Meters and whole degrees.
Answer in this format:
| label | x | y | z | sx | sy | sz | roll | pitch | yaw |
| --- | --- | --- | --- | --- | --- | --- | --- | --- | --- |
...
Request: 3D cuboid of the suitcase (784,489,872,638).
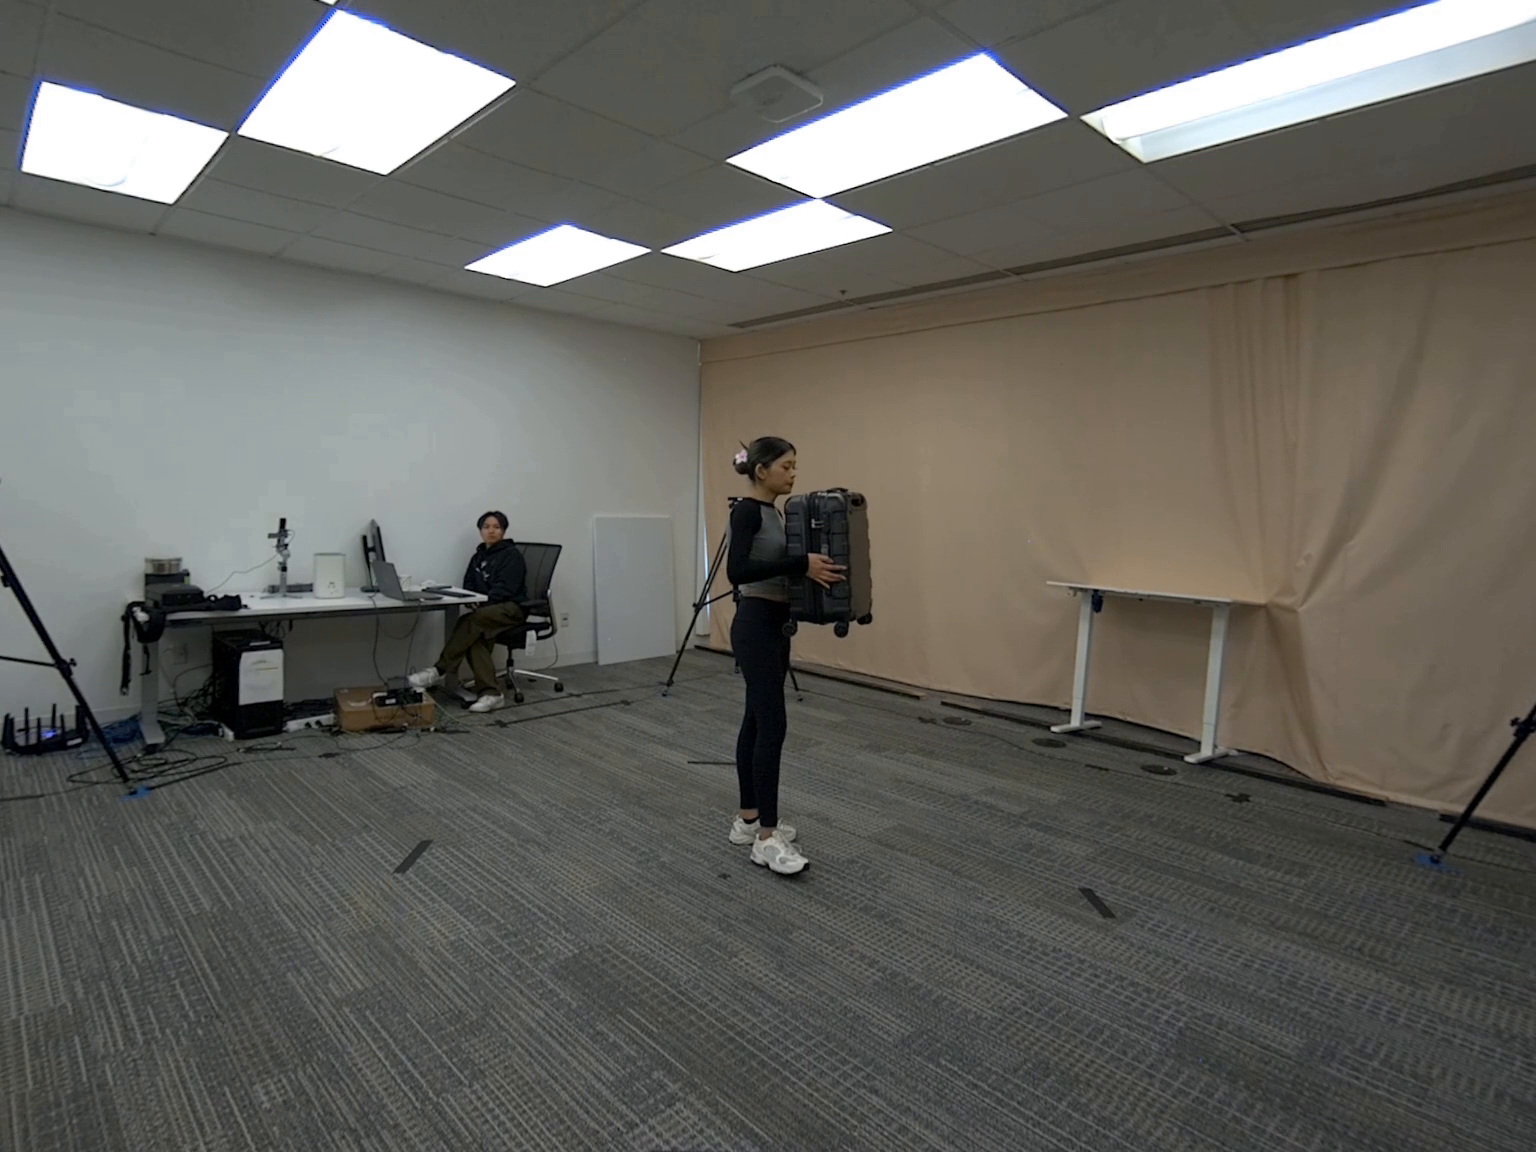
| label | x | y | z | sx | sy | sz | roll | pitch | yaw |
| --- | --- | --- | --- | --- | --- | --- | --- | --- | --- |
| suitcase | 0.227 | -0.066 | 3.282 | 0.253 | 0.547 | 0.369 | 0 | 5 | 26 |
